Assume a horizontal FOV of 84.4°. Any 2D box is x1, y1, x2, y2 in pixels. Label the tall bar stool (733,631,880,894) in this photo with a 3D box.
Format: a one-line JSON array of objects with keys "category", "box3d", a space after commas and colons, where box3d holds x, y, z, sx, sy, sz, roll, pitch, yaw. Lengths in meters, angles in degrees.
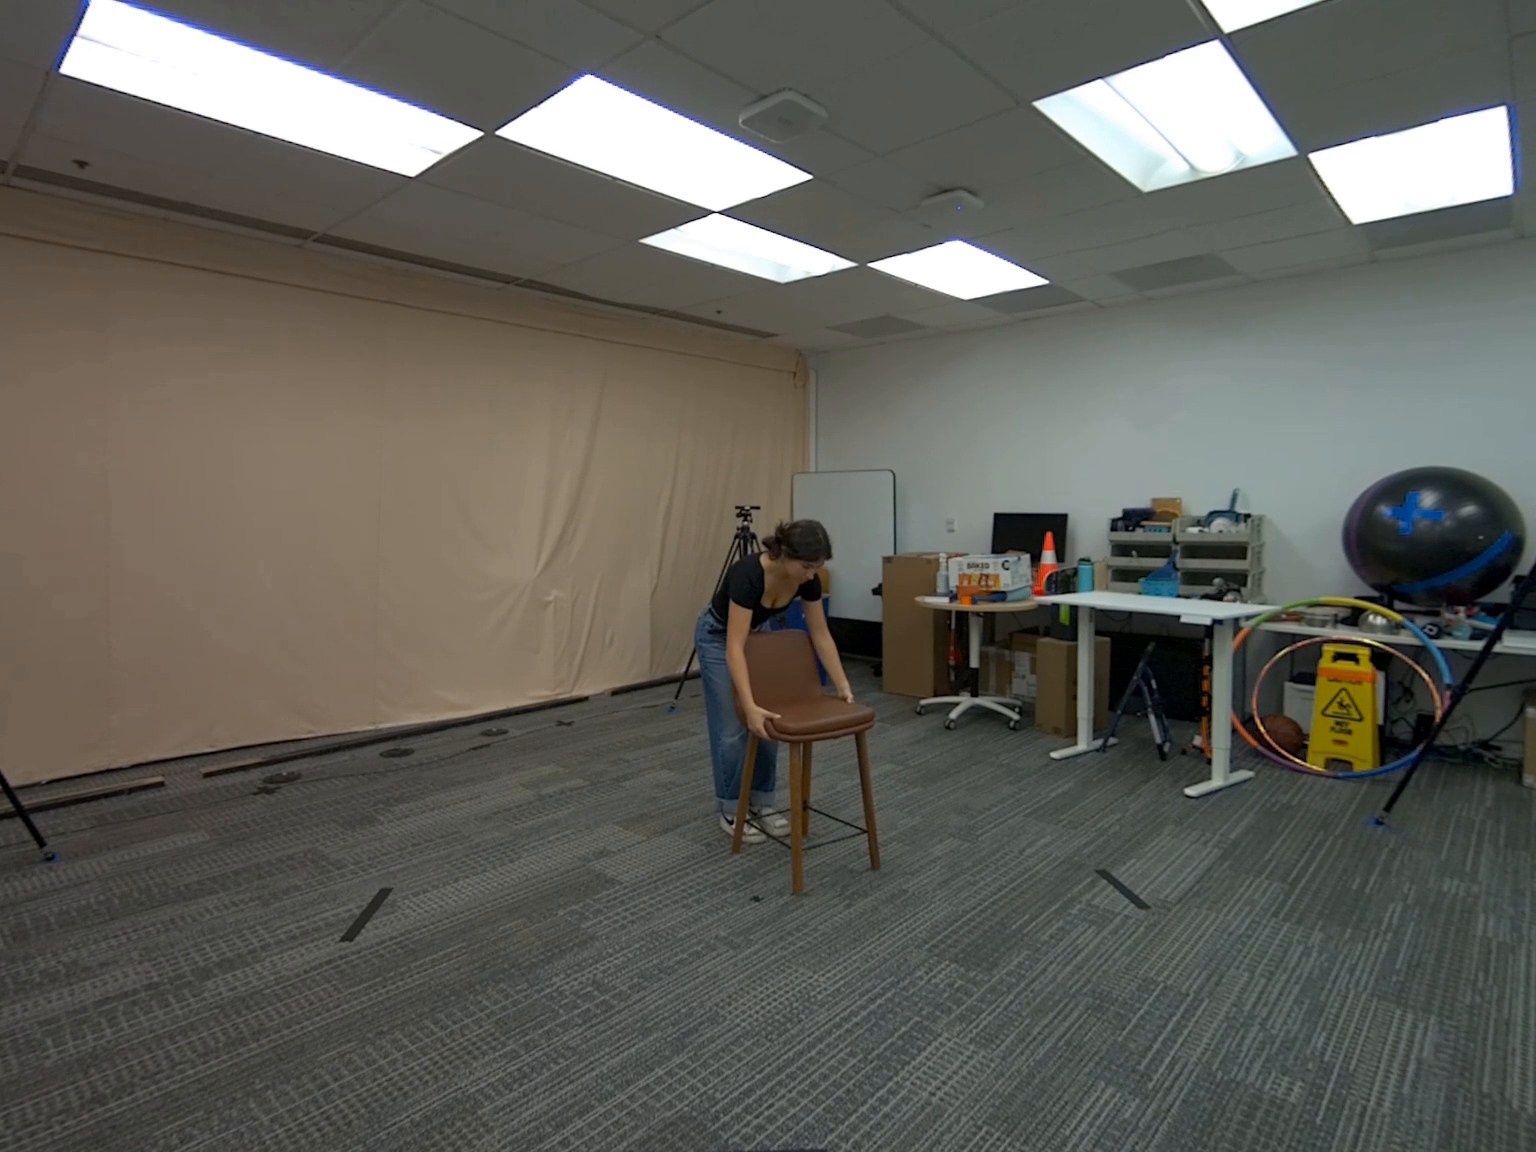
[{"category": "tall bar stool", "box3d": [0.138, 0.681, 3.280, 0.443, 0.889, 0.482, -2, 1, -35]}]
